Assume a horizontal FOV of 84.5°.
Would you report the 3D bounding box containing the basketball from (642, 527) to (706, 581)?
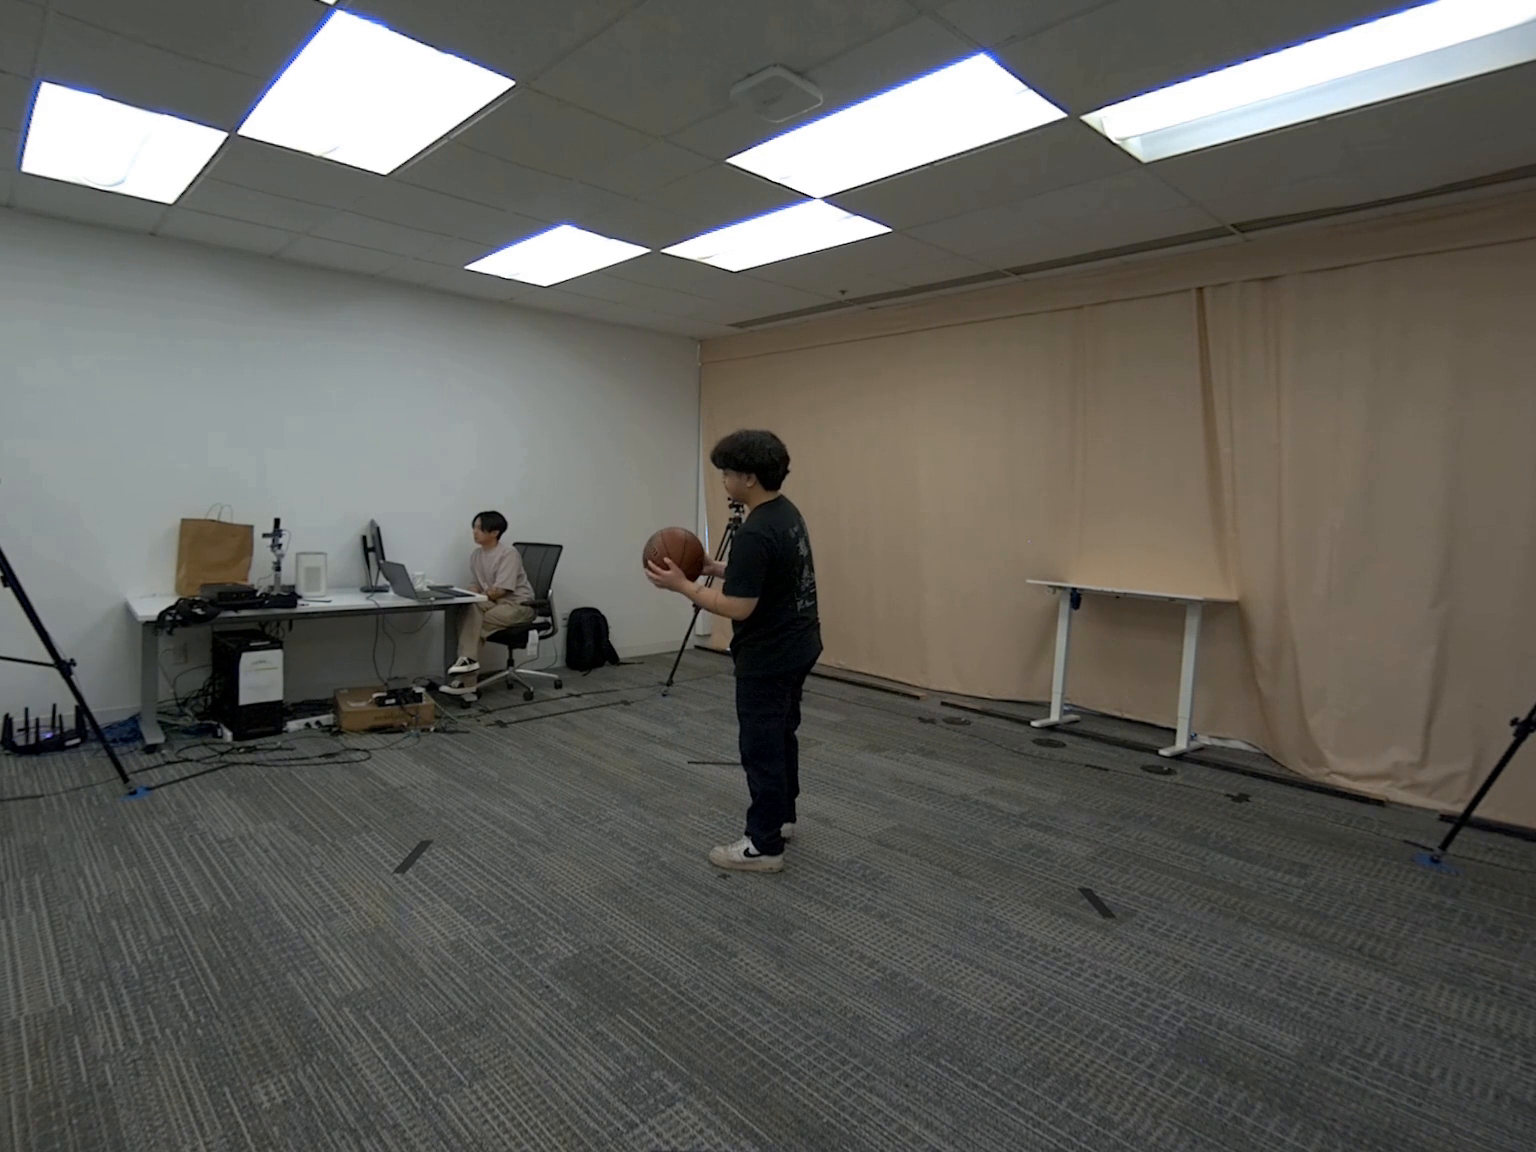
[{"bbox_3d":[-0.361,-0.065,3.205,0.236,0.235,0.237,1,4,-1],"label":"basketball"}]
